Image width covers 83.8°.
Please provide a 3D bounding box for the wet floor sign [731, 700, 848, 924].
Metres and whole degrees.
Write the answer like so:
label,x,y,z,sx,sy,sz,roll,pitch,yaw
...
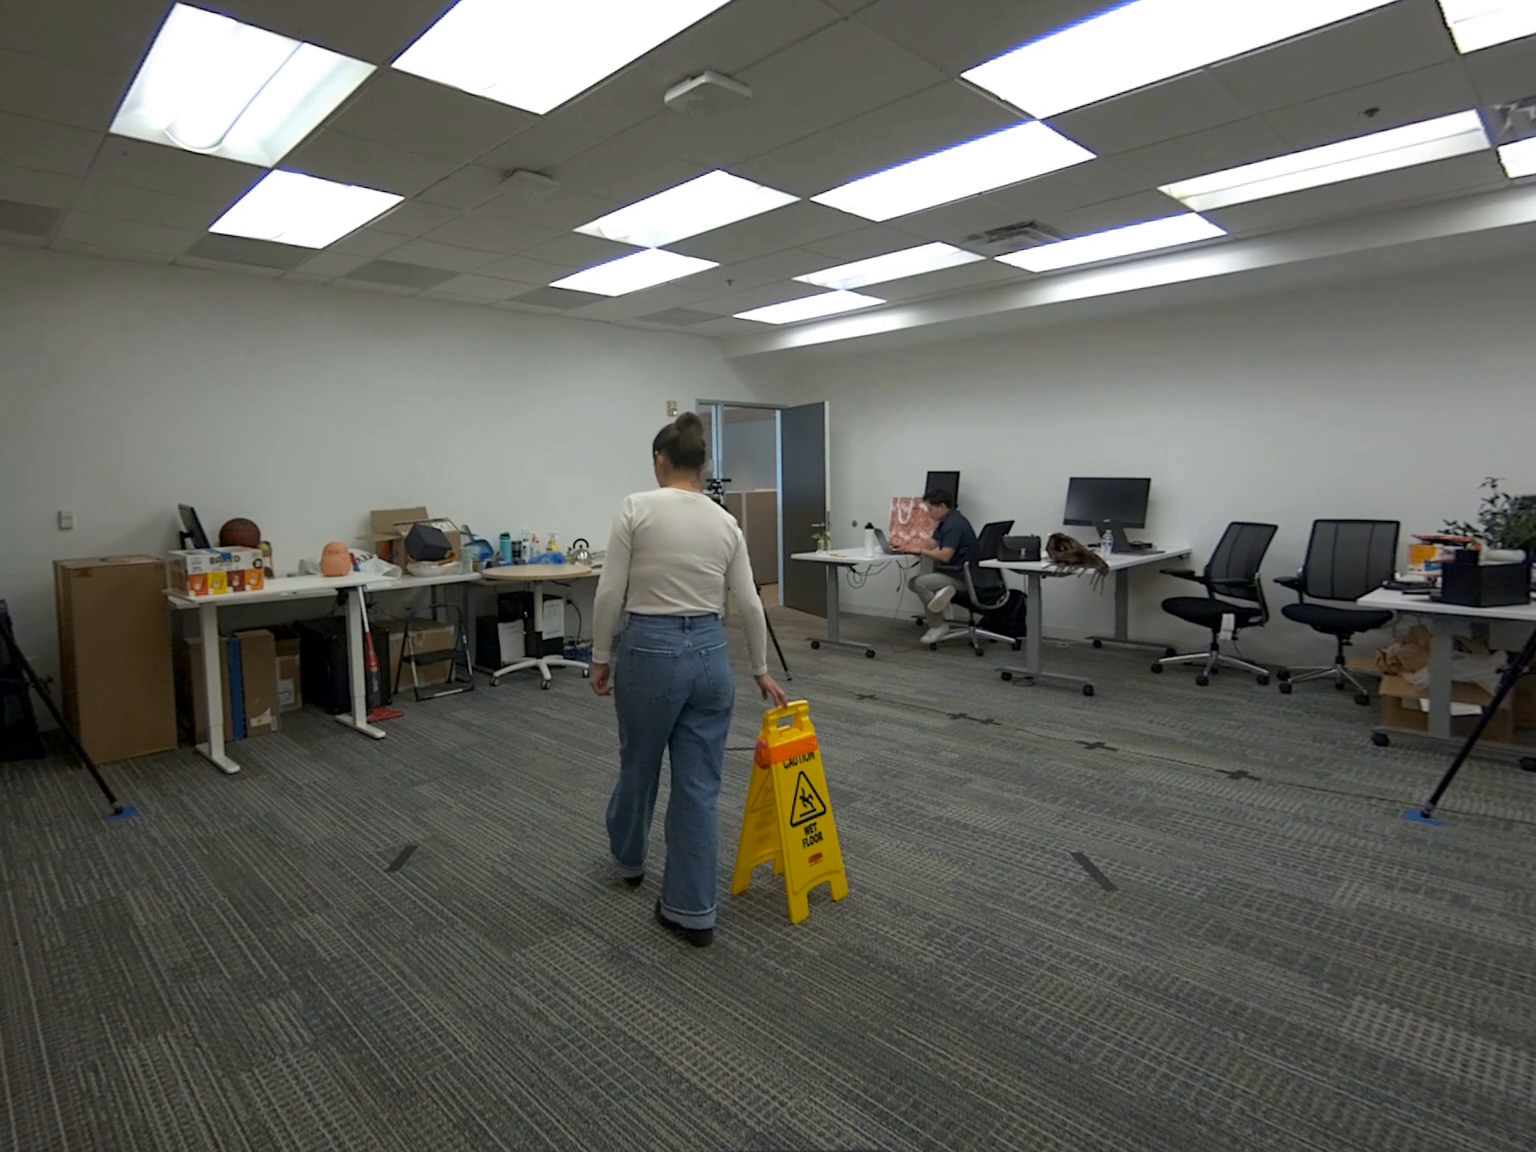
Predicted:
label,x,y,z,sx,sy,sz,roll,pitch,yaw
wet floor sign,0.073,0.747,2.848,0.299,0.643,0.275,4,6,45
